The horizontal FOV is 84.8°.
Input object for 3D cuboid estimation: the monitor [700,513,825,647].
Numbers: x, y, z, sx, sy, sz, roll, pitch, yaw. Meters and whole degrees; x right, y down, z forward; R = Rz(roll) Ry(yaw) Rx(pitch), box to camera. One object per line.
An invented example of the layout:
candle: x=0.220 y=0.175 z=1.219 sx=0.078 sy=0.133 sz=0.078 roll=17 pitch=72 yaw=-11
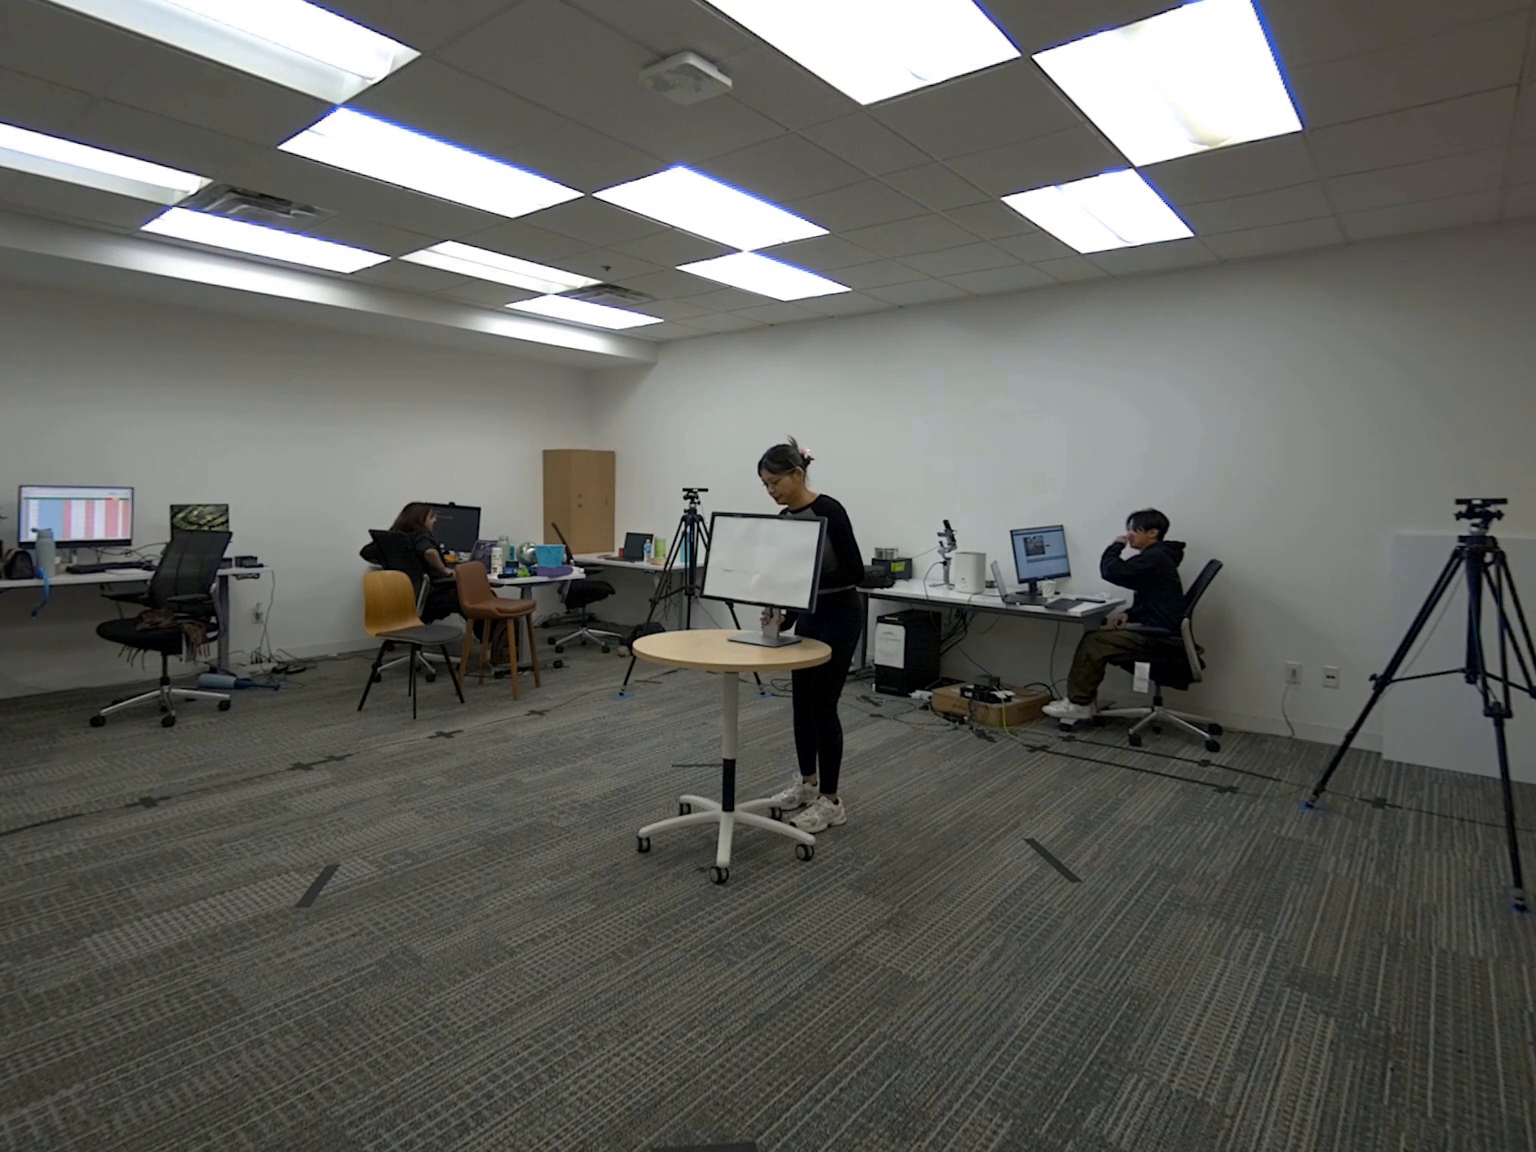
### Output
monitor: x=-0.015 y=0.013 z=3.388 sx=0.557 sy=0.520 sz=0.182 roll=4 pitch=7 yaw=36
